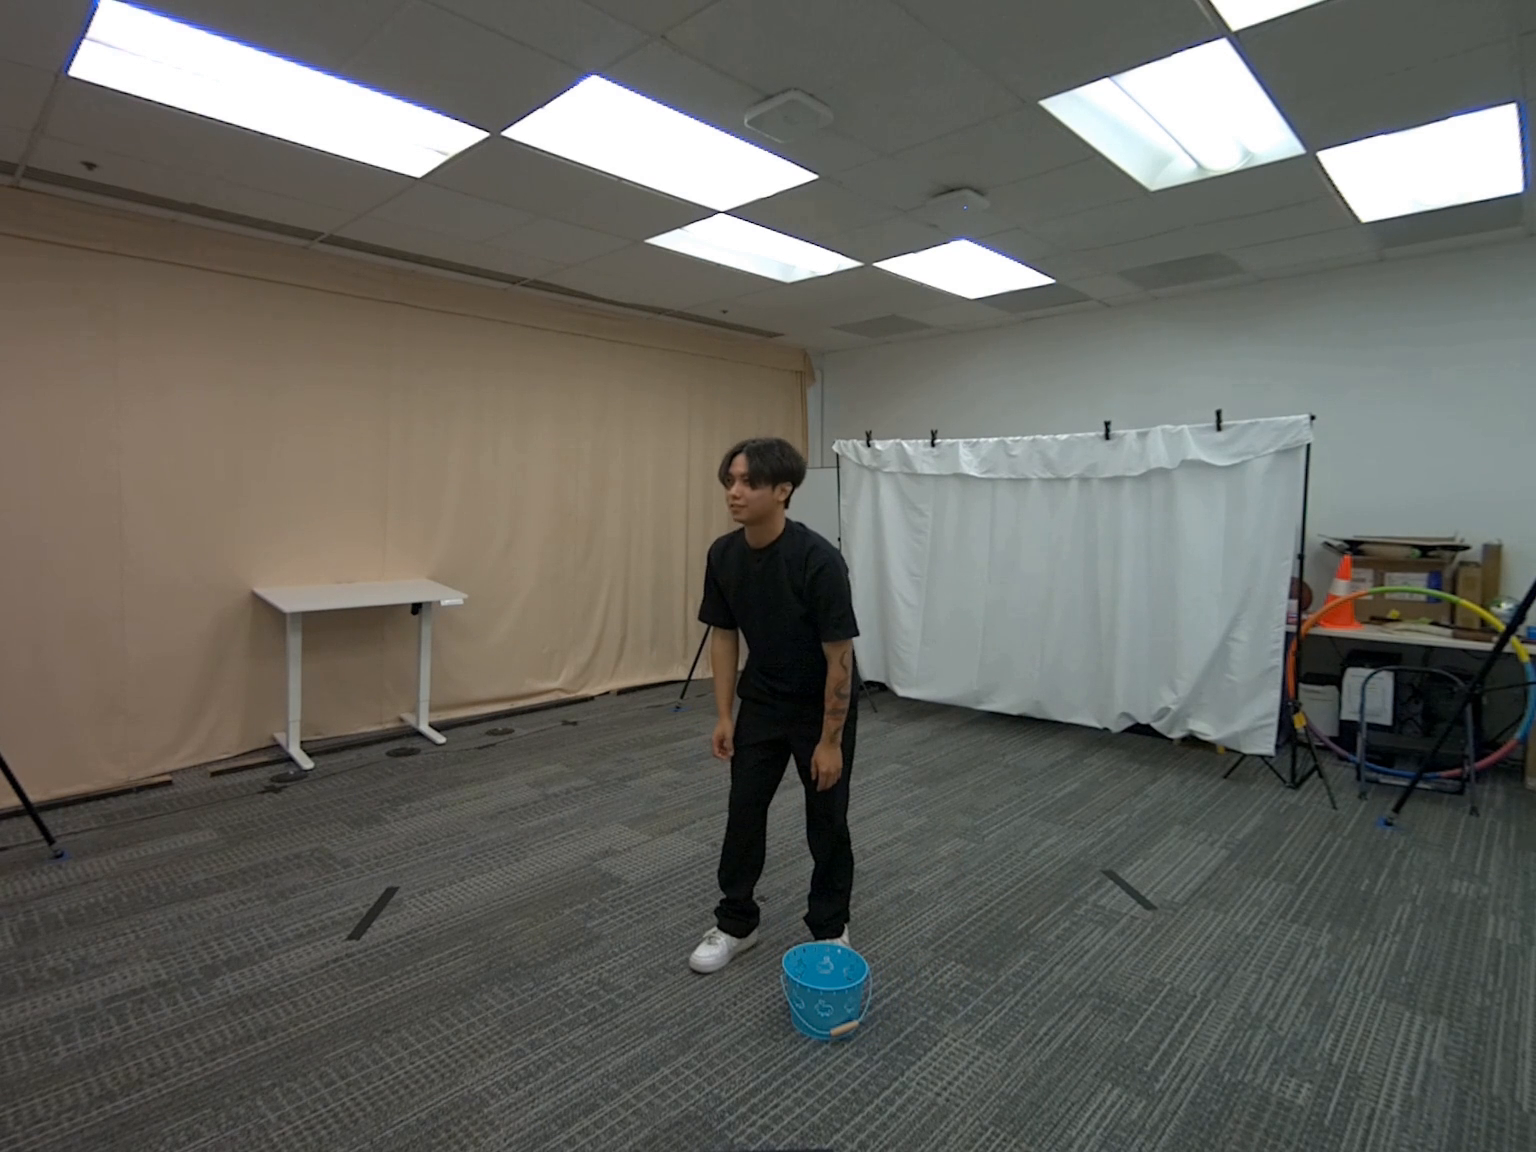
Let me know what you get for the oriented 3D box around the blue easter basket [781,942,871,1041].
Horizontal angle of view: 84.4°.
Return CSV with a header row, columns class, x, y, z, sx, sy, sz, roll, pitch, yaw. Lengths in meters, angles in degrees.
class,x,y,z,sx,sy,sz,roll,pitch,yaw
blue easter basket,0.158,1.122,2.283,0.243,0.155,0.244,0,5,-2
